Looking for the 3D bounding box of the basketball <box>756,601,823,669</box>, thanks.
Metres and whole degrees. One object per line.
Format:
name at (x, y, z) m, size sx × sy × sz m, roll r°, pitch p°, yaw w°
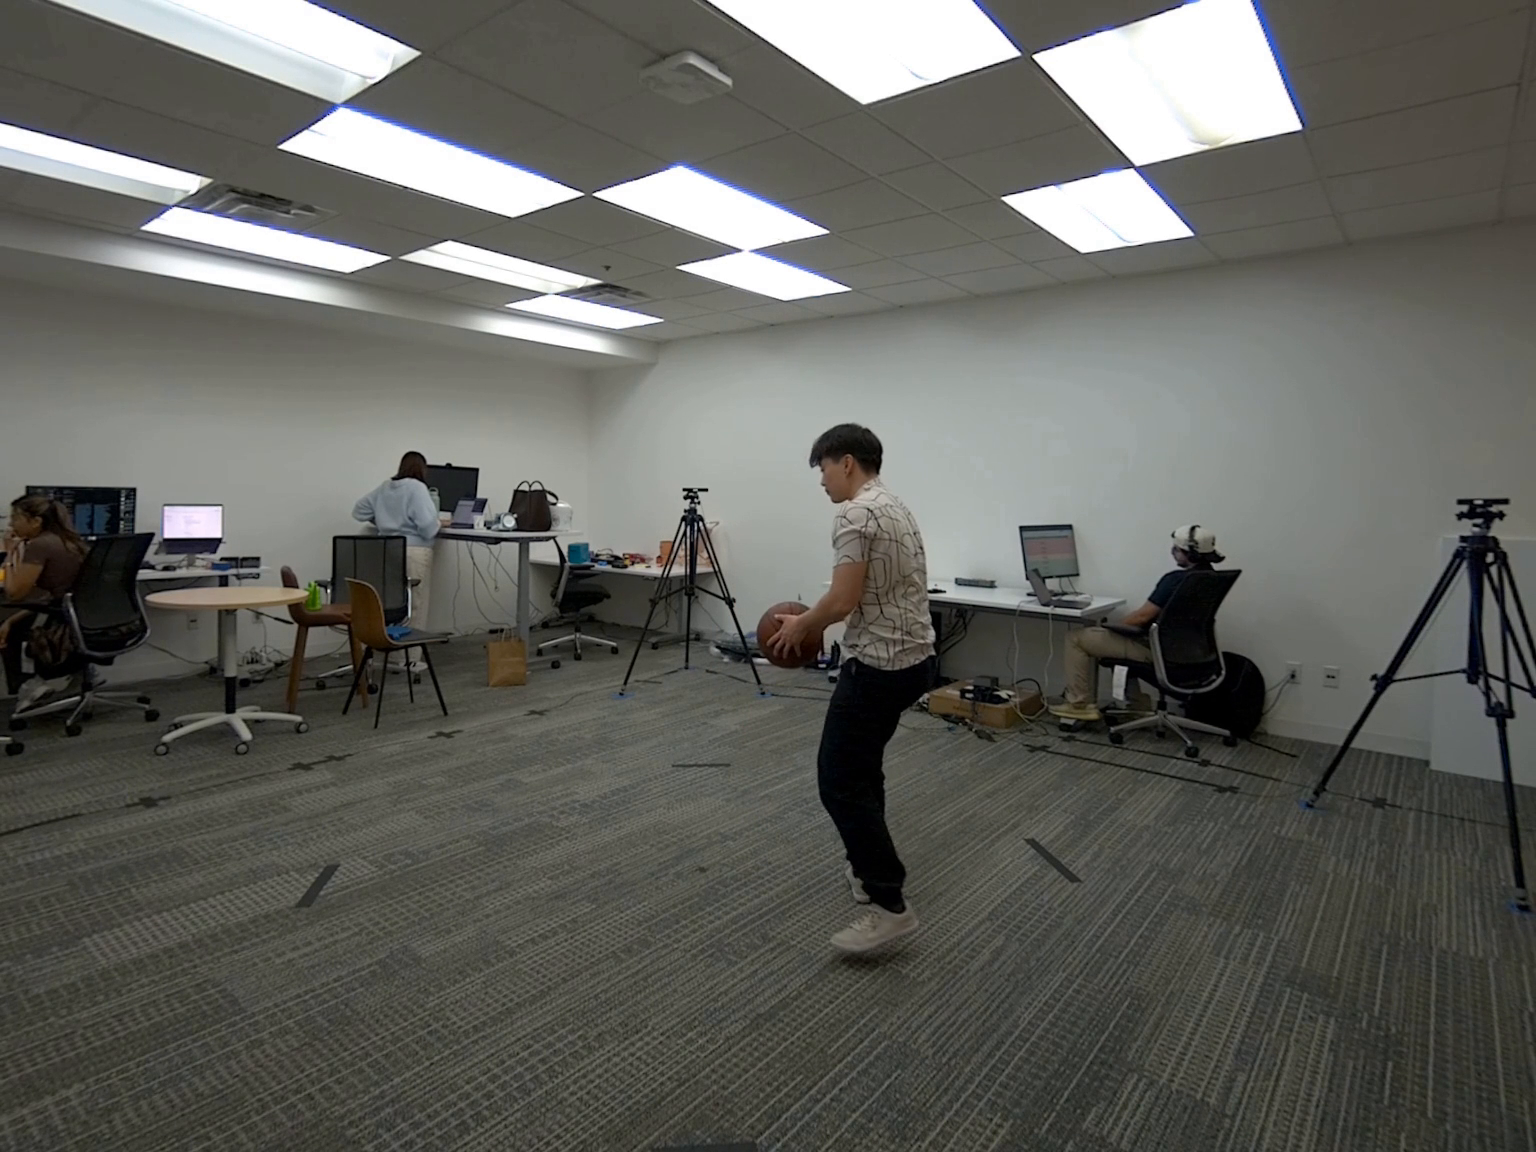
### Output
basketball at (0.082, 0.214, 3.029) m, size 0.235 × 0.235 × 0.237 m, roll 1°, pitch 4°, yaw -2°
